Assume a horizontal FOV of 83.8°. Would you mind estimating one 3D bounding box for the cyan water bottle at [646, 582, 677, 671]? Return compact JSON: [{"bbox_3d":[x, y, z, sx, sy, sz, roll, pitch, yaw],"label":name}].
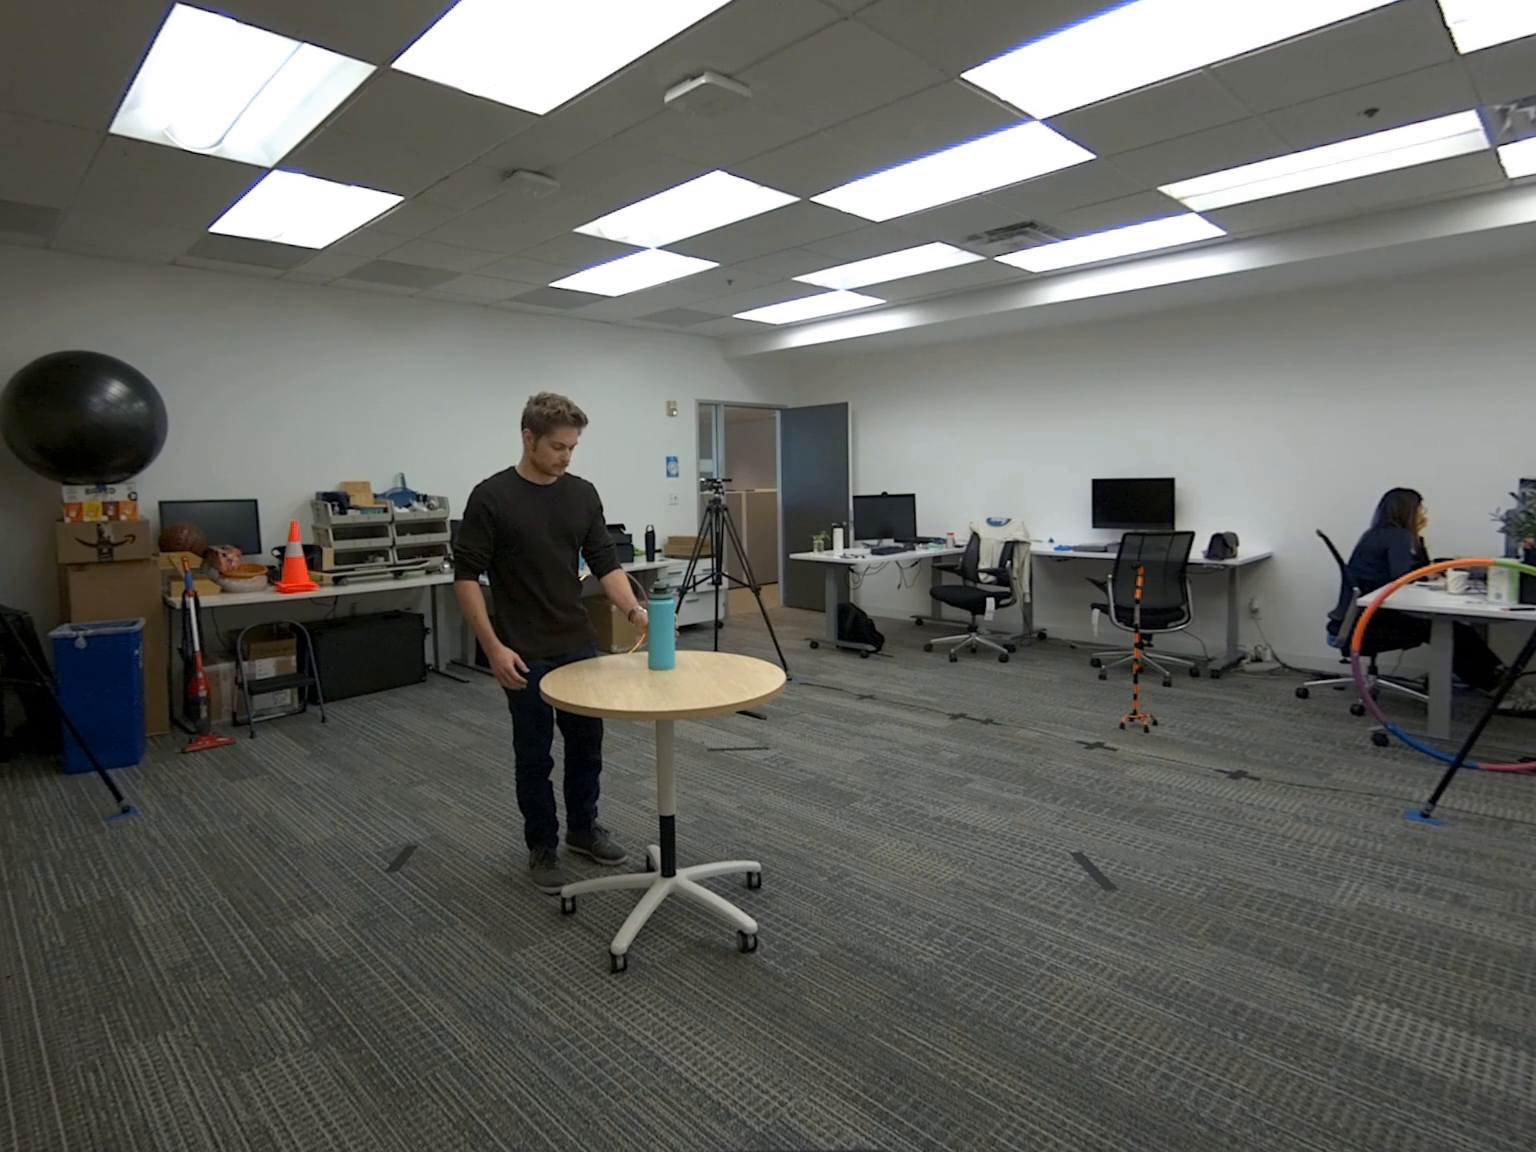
[{"bbox_3d":[-0.353,0.162,2.796,0.092,0.283,0.092,-3,2,-2],"label":"cyan water bottle"}]
